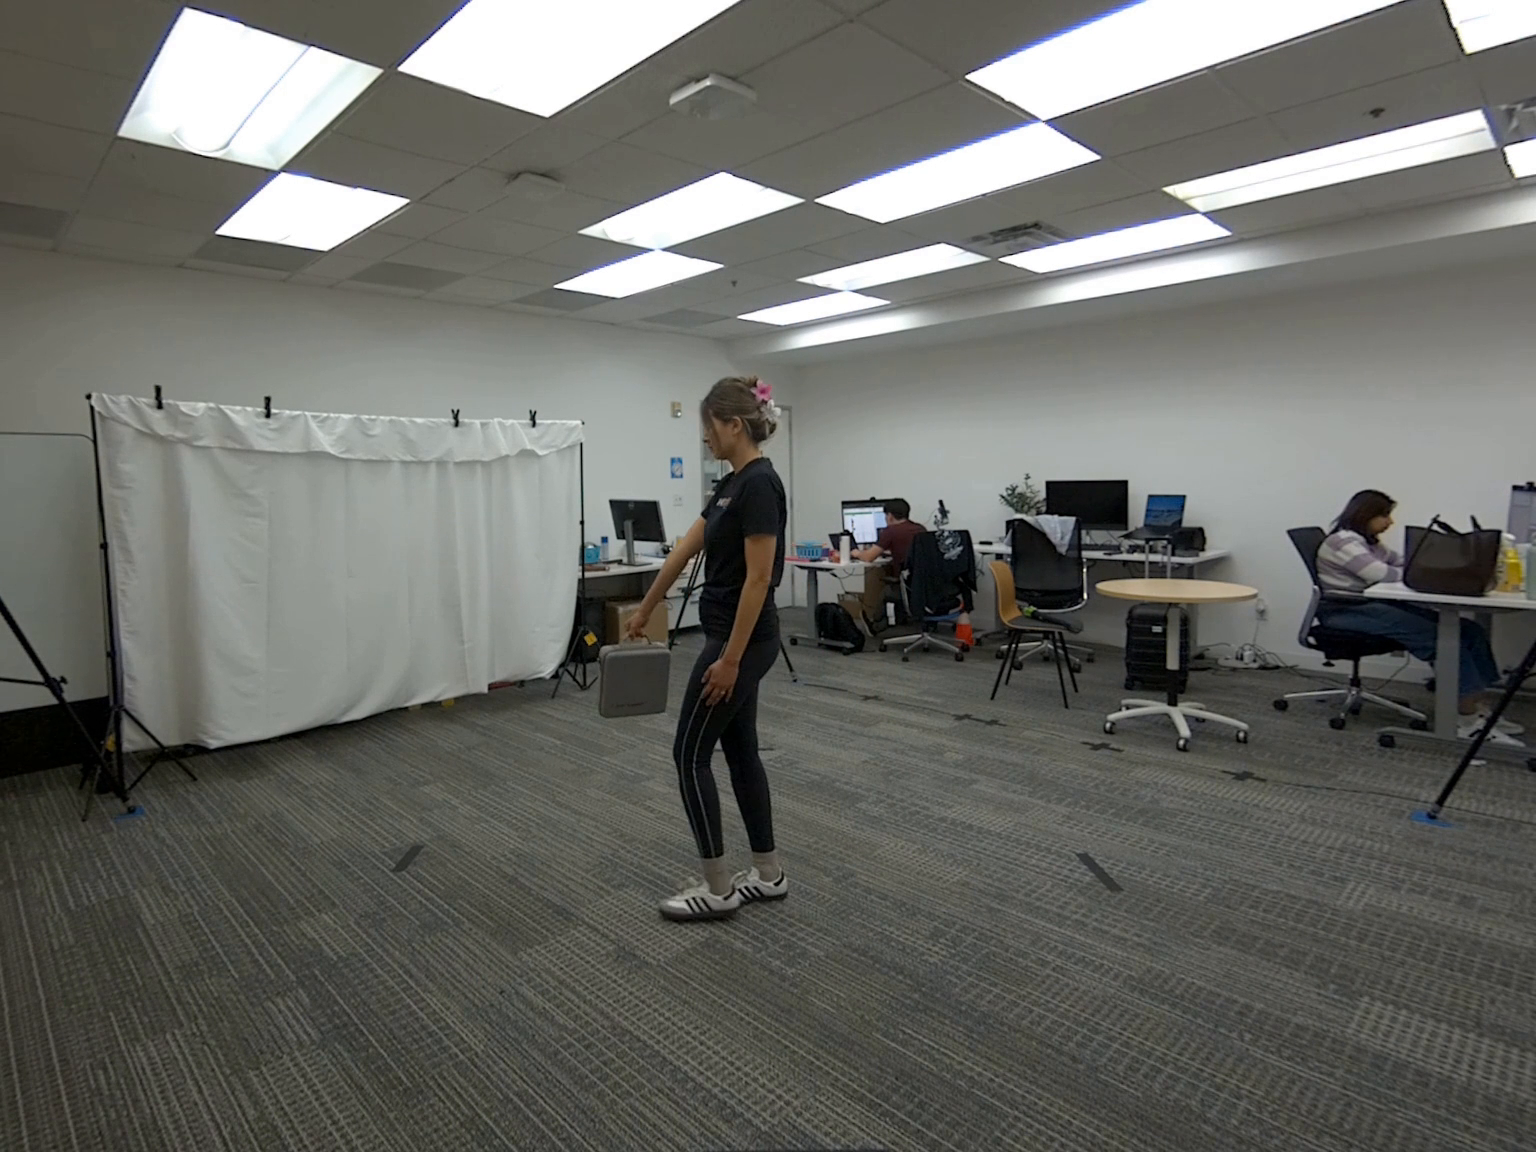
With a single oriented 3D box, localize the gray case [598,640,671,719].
[{"bbox_3d":[-0.482,0.370,3.069,0.251,0.258,0.107,0,12,-25],"label":"gray case"}]
